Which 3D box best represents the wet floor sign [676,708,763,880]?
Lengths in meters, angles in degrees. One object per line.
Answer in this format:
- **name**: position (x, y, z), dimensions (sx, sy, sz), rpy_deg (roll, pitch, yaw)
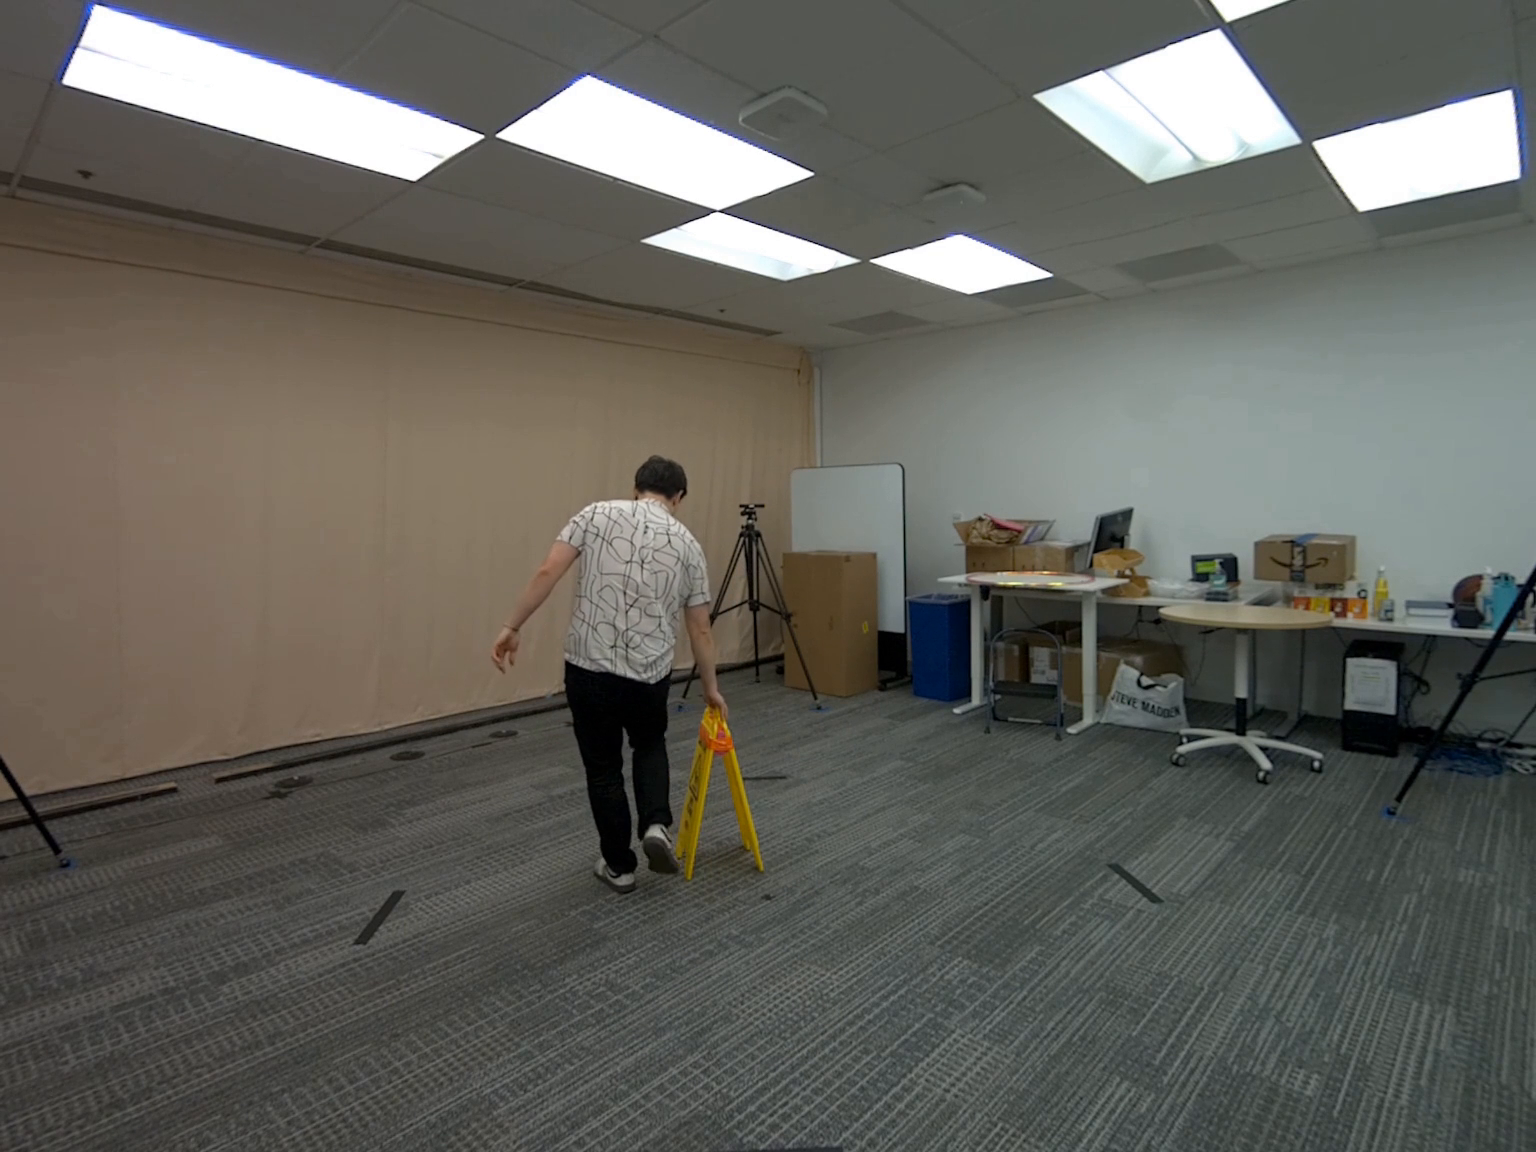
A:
- **wet floor sign**: position (-0.200, 0.791, 3.269), dimensions (0.286, 0.645, 0.286), rpy_deg (-2, 2, -12)
